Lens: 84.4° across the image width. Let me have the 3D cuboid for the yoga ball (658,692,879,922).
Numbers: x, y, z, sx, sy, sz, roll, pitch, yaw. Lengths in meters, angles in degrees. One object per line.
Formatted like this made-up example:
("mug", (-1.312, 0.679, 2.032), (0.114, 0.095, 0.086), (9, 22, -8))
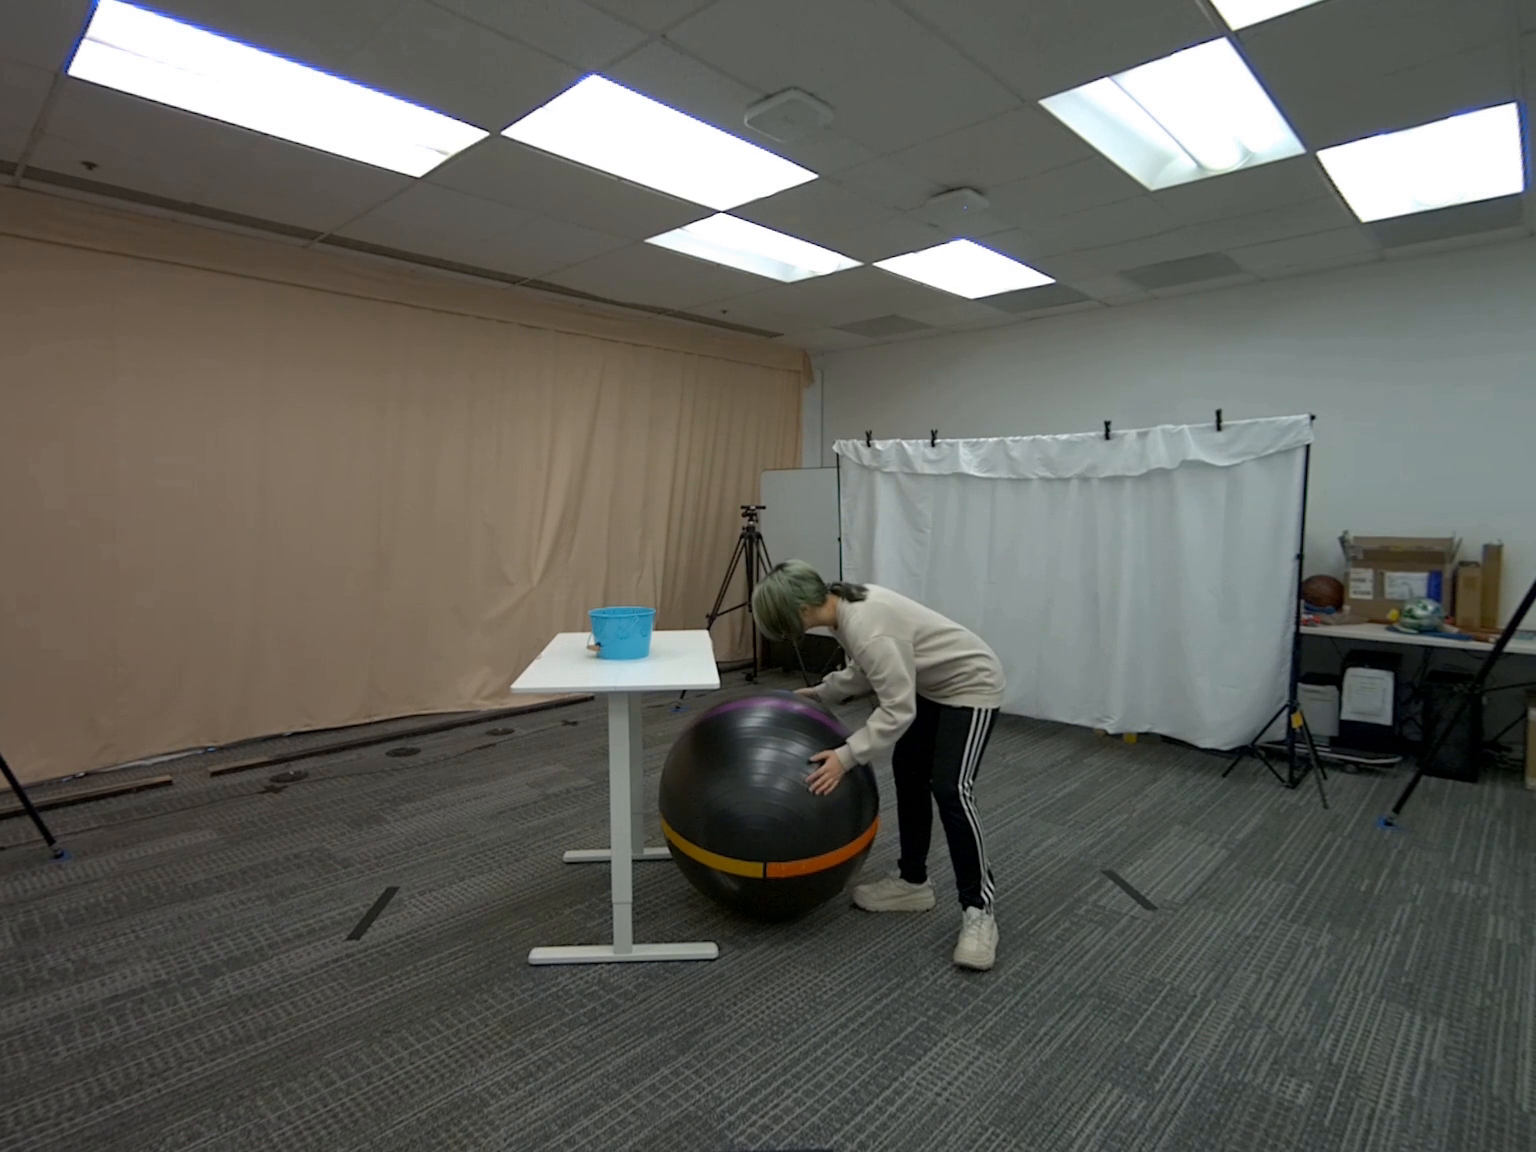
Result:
("yoga ball", (0.004, 0.781, 2.917), (0.757, 0.756, 0.760), (0, 4, -2))
